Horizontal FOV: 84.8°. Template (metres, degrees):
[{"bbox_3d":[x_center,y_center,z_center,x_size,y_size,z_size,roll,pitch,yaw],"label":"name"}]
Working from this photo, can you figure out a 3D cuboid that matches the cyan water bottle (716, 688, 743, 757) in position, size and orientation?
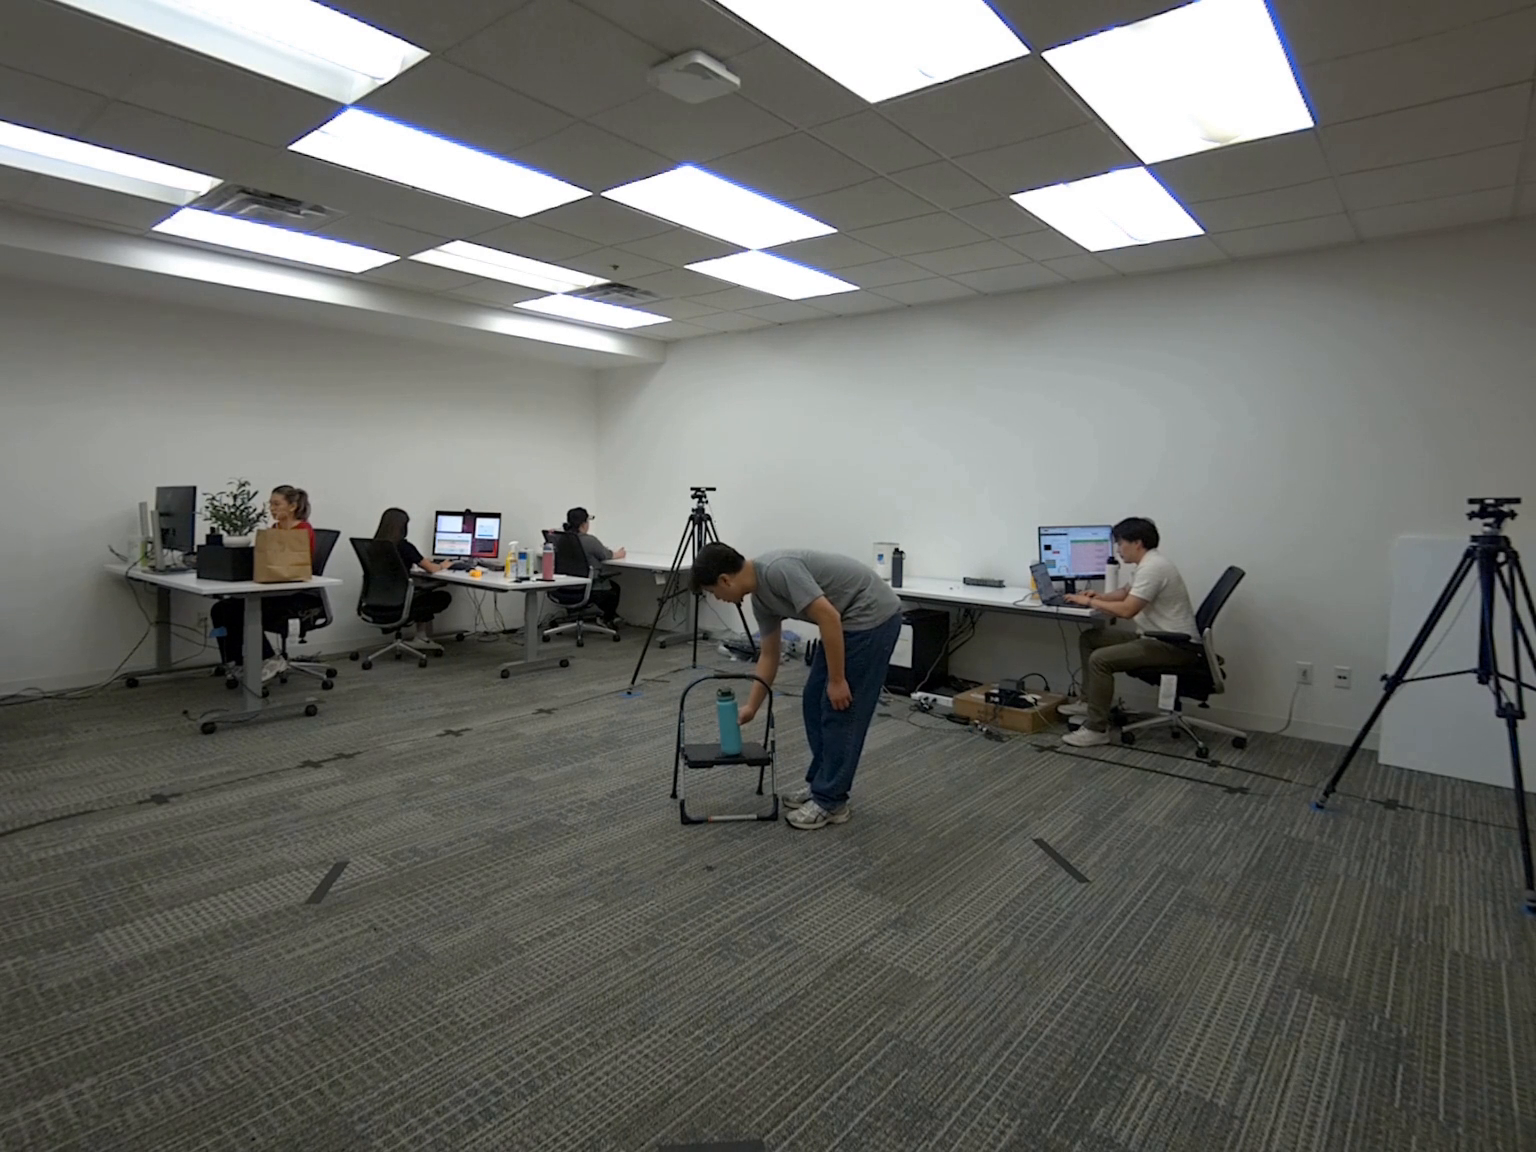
[{"bbox_3d":[-0.180,0.606,3.655,0.092,0.283,0.092,-7,1,-2],"label":"cyan water bottle"}]
